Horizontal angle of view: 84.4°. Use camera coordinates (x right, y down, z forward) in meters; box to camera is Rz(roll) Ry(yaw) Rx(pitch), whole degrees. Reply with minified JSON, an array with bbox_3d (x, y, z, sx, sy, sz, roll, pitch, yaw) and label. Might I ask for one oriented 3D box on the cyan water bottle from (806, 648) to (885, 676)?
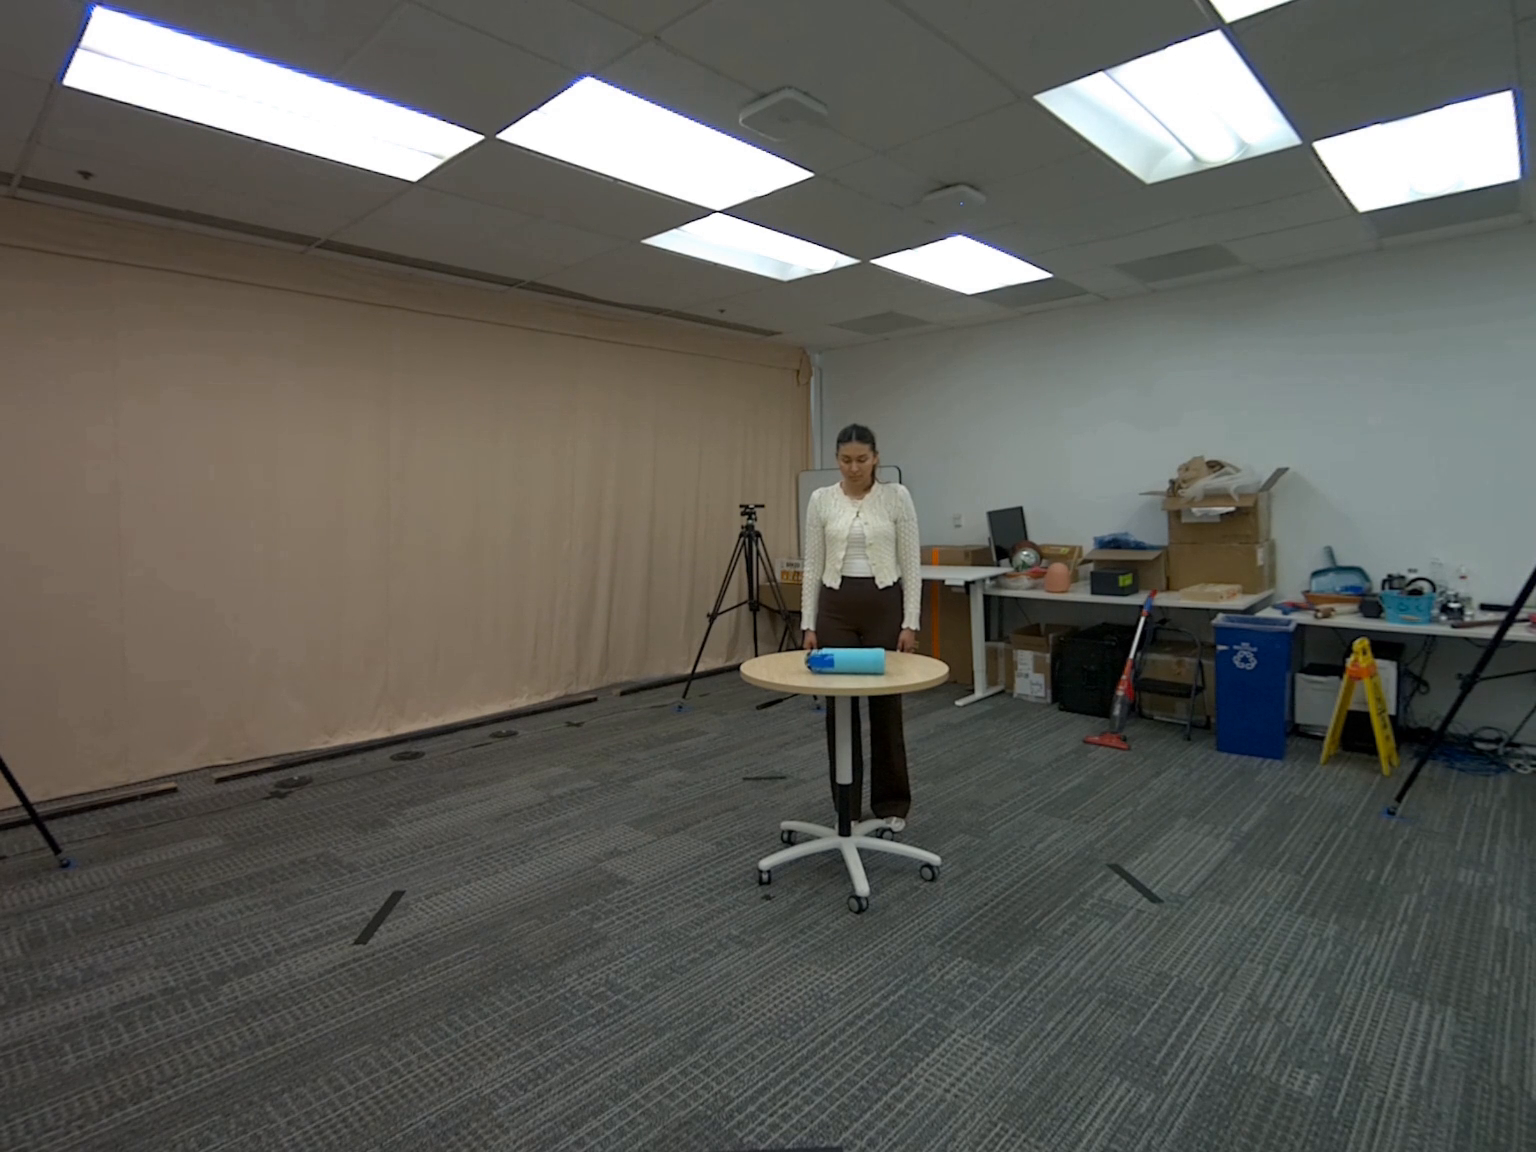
[{"bbox_3d":[0.277,0.301,3.013,0.286,0.092,0.091,0,4,9],"label":"cyan water bottle"}]
